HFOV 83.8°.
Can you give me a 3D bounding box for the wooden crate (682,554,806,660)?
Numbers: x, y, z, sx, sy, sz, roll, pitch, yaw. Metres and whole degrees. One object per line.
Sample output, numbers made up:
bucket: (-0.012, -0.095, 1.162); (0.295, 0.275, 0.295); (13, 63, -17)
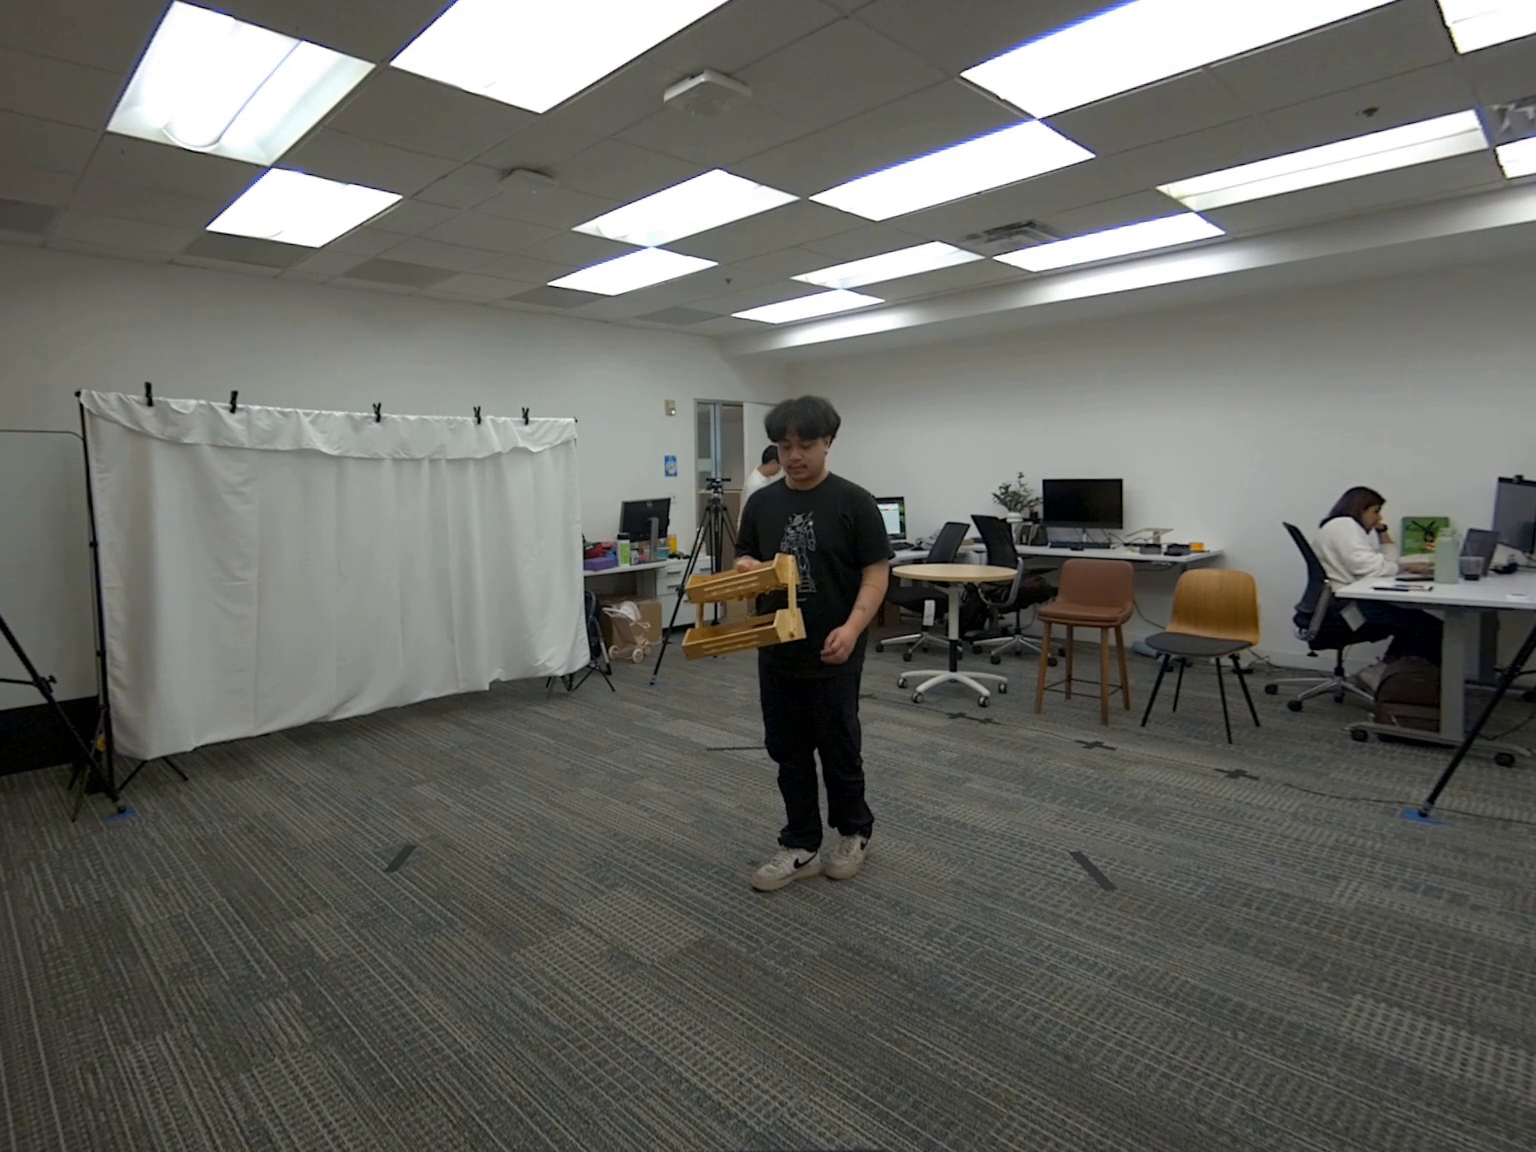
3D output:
wooden crate: (-0.078, 0.088, 2.596); (0.329, 0.276, 0.295); (-13, -7, 20)
